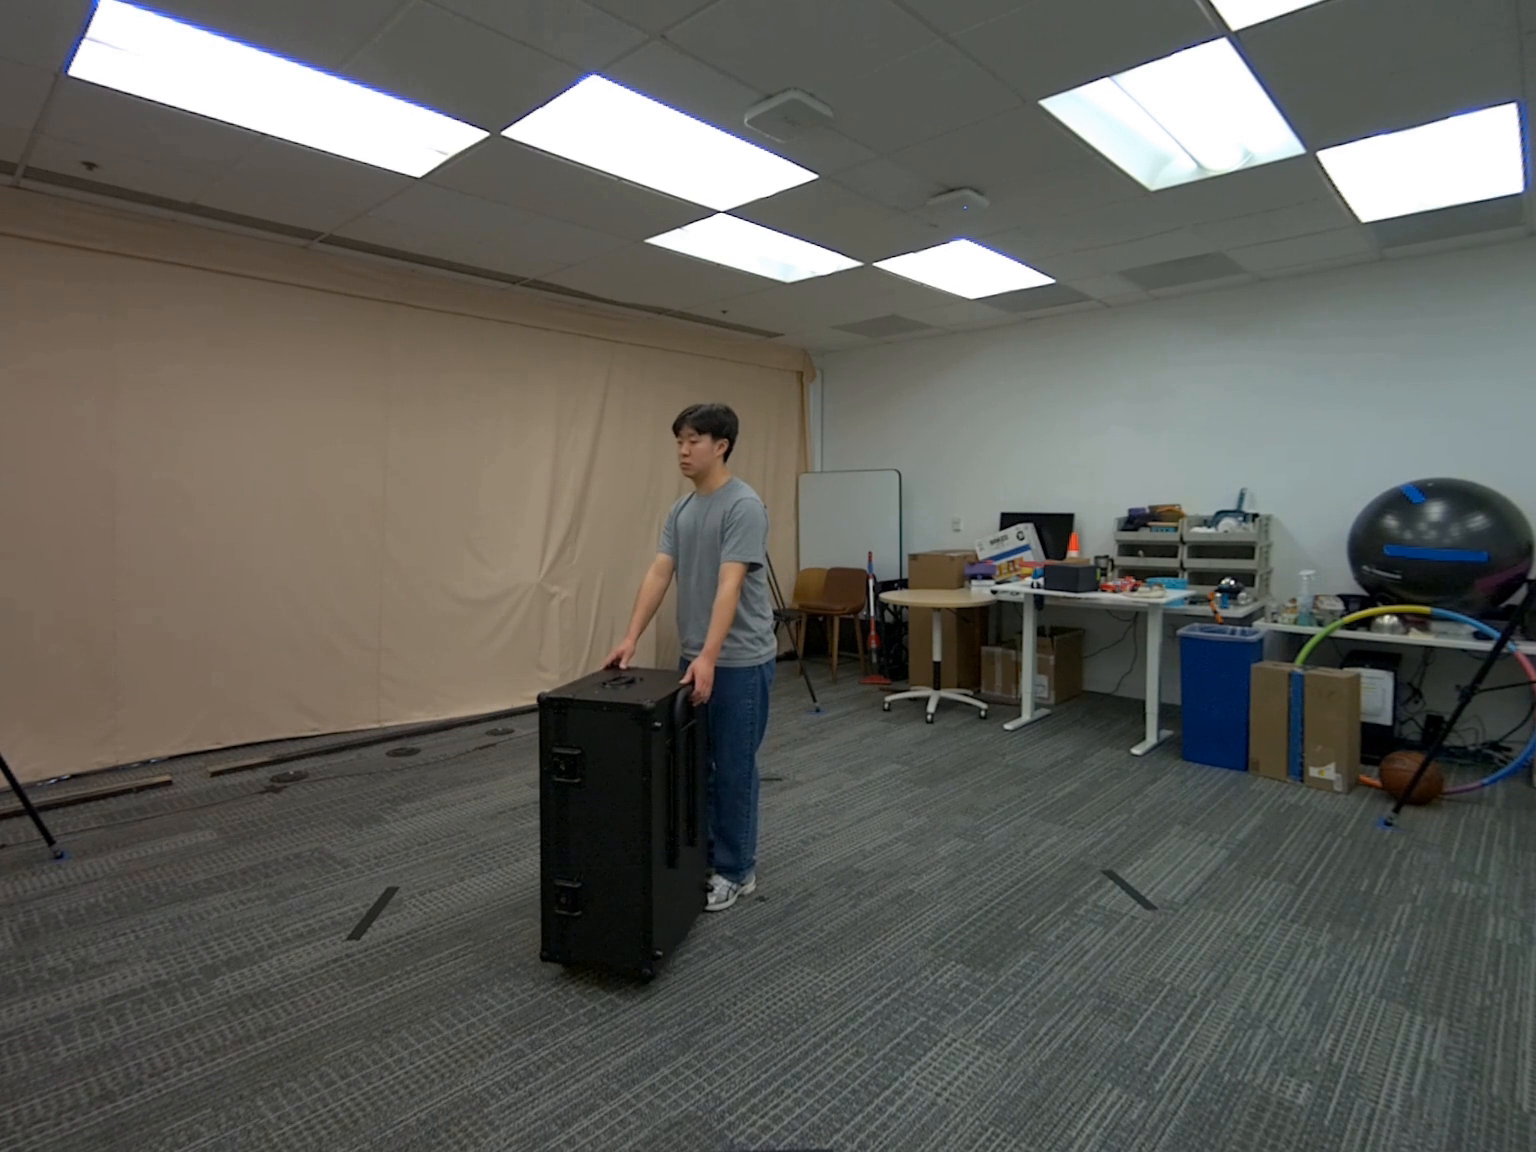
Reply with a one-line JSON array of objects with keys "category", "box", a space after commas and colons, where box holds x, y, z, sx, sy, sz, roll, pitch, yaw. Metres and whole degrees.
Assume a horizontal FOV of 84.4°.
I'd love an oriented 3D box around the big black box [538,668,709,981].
[{"category": "big black box", "box": [-0.428, 0.762, 2.608, 0.403, 0.859, 0.513, 2, 4, 16]}]
